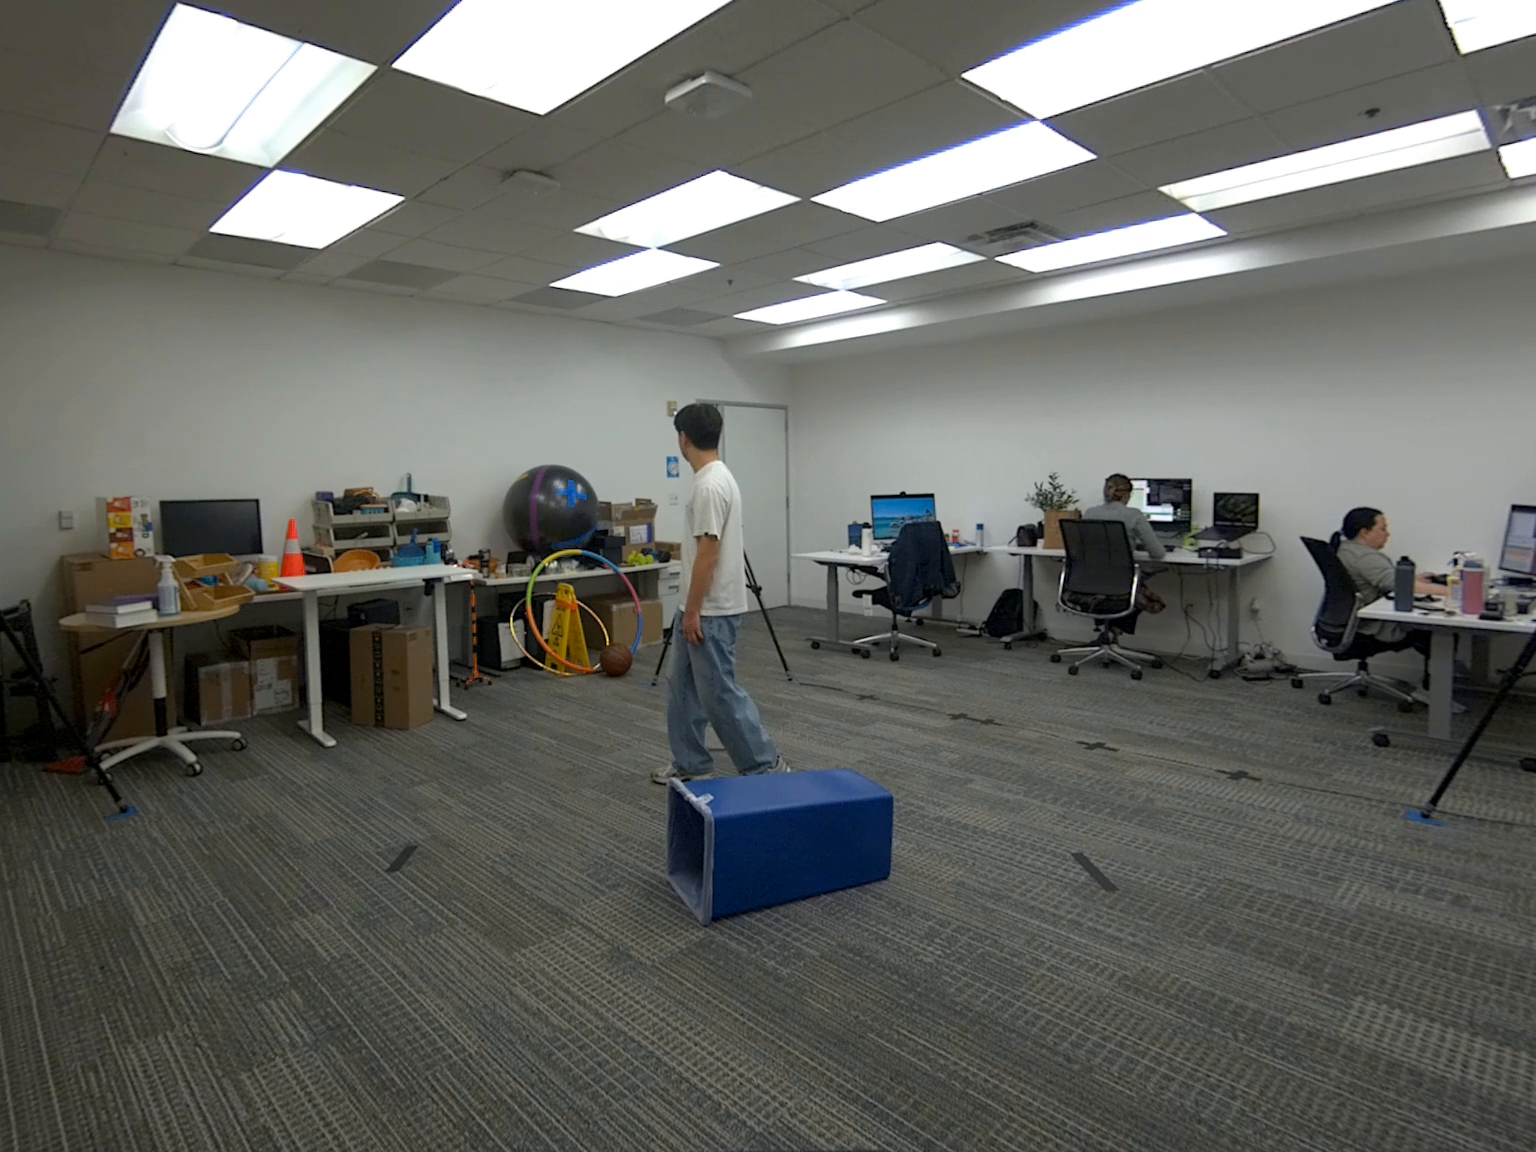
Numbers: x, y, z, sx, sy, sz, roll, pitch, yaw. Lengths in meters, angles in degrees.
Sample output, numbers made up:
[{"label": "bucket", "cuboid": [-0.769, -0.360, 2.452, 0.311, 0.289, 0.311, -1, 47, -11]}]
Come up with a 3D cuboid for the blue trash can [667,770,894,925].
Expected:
[{"label": "blue trash can", "cuboid": [0.046, 0.898, 2.960, 0.698, 0.377, 0.383, -1, 4, -25]}]
